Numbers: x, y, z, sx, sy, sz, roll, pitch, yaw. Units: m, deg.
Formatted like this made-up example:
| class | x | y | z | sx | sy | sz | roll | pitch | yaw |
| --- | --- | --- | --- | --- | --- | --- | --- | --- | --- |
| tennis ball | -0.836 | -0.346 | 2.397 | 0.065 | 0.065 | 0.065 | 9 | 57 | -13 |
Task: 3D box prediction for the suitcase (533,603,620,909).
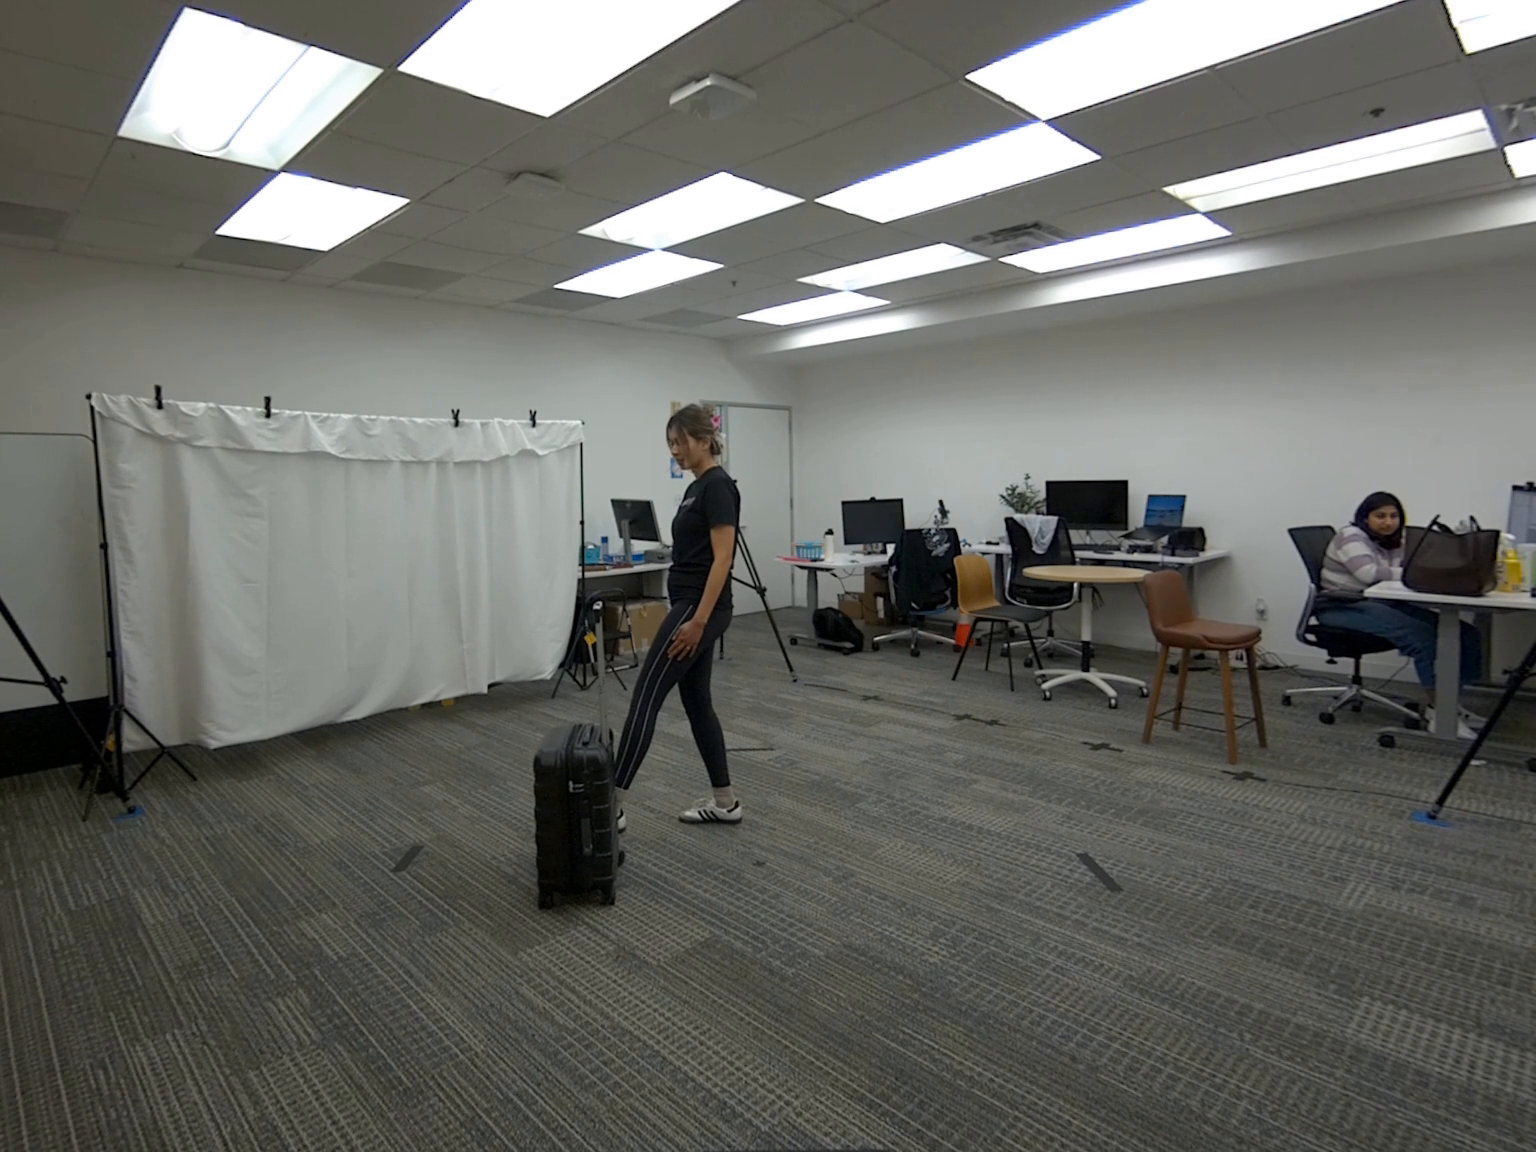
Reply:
| class | x | y | z | sx | sy | sz | roll | pitch | yaw |
| --- | --- | --- | --- | --- | --- | --- | --- | --- | --- |
| suitcase | -0.657 | 0.601 | 2.920 | 0.256 | 0.974 | 0.387 | -3 | 5 | -6 |
